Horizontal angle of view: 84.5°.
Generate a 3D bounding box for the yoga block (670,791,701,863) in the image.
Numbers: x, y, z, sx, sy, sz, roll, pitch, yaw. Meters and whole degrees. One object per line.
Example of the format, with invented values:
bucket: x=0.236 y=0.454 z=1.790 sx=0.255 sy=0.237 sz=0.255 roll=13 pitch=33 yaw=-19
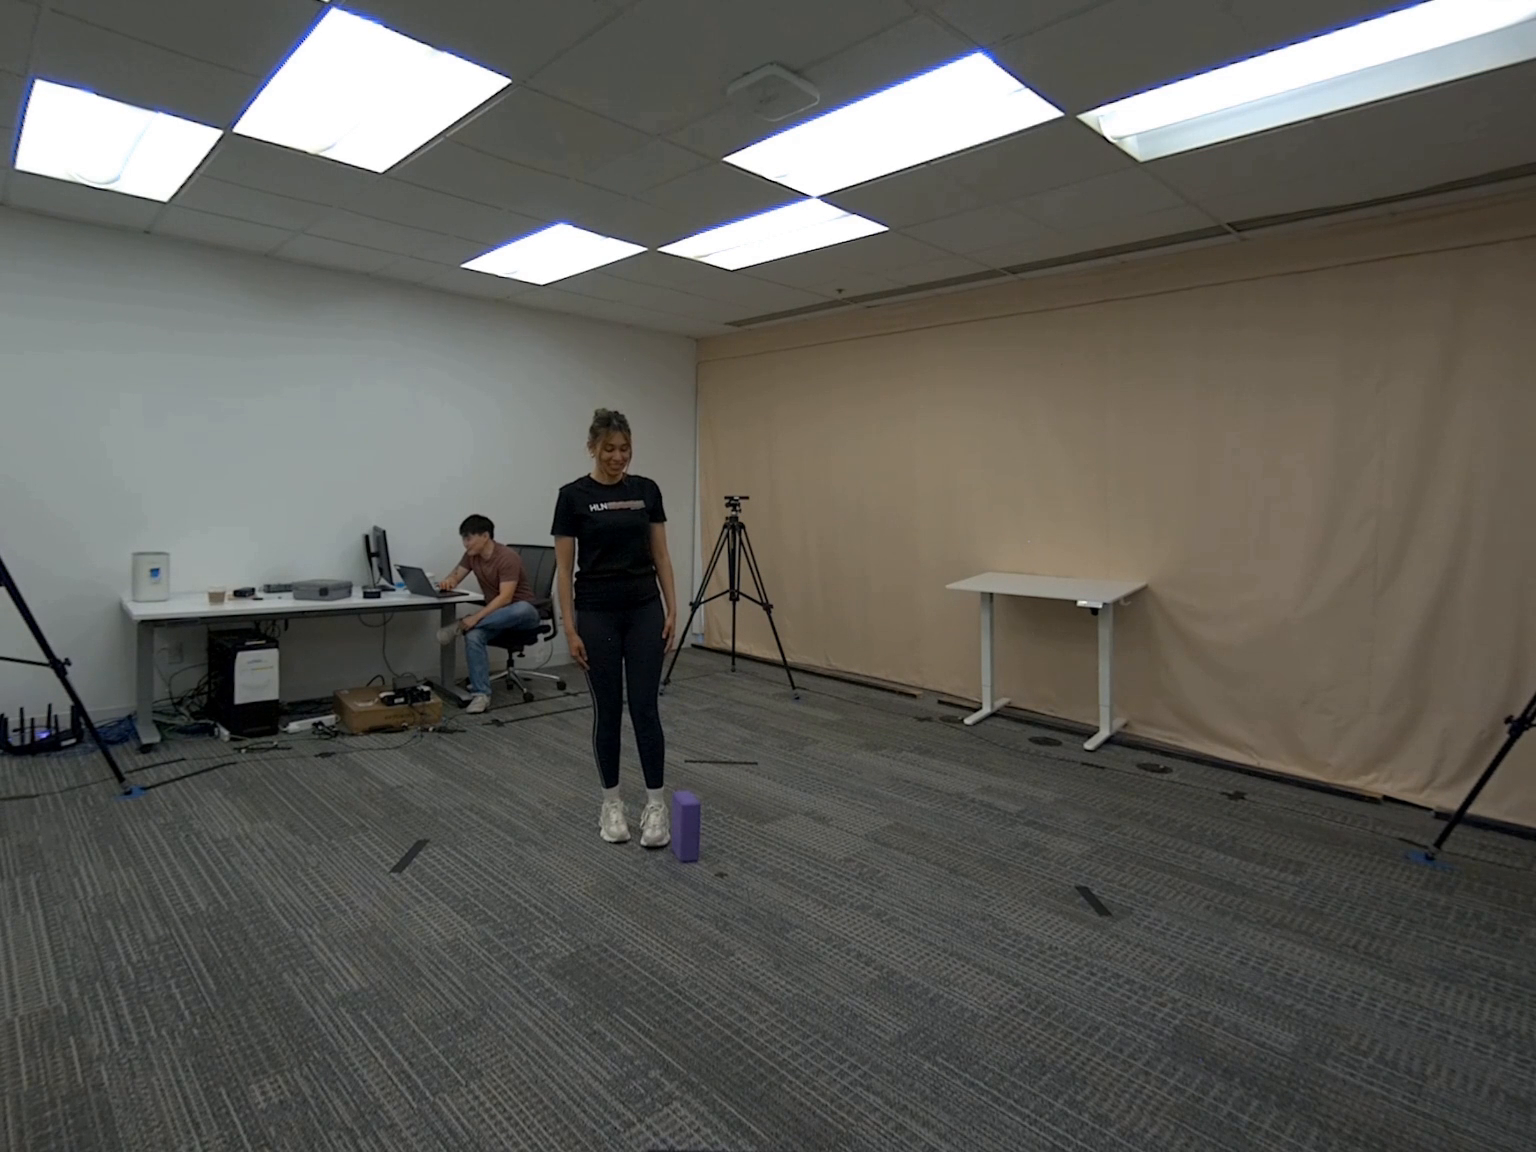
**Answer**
yoga block: x=-0.329 y=0.969 z=3.264 sx=0.075 sy=0.229 sz=0.152 roll=0 pitch=3 yaw=-23
